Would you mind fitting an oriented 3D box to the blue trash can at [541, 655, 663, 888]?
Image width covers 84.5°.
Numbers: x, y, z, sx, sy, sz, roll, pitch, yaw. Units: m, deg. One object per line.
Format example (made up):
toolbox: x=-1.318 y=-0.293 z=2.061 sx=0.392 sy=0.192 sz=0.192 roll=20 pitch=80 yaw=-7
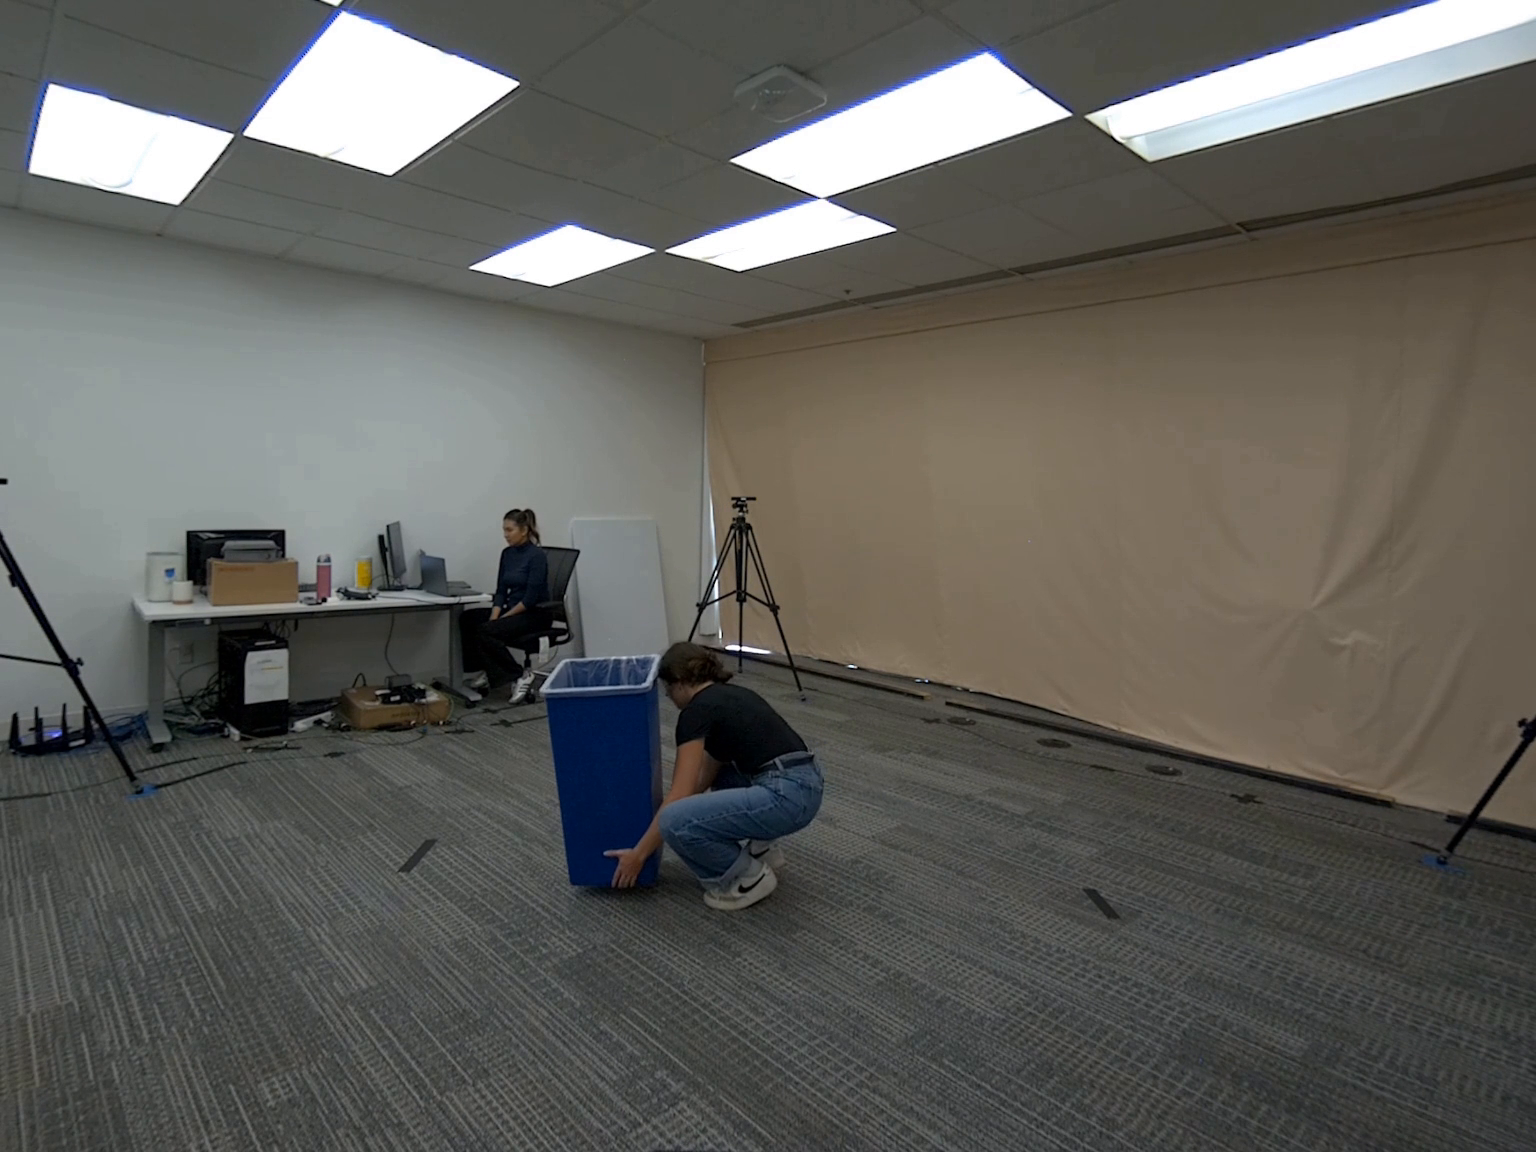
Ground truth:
blue trash can: x=-0.557 y=0.680 z=2.975 sx=0.379 sy=0.709 sz=0.376 roll=-3 pitch=8 yaw=2
